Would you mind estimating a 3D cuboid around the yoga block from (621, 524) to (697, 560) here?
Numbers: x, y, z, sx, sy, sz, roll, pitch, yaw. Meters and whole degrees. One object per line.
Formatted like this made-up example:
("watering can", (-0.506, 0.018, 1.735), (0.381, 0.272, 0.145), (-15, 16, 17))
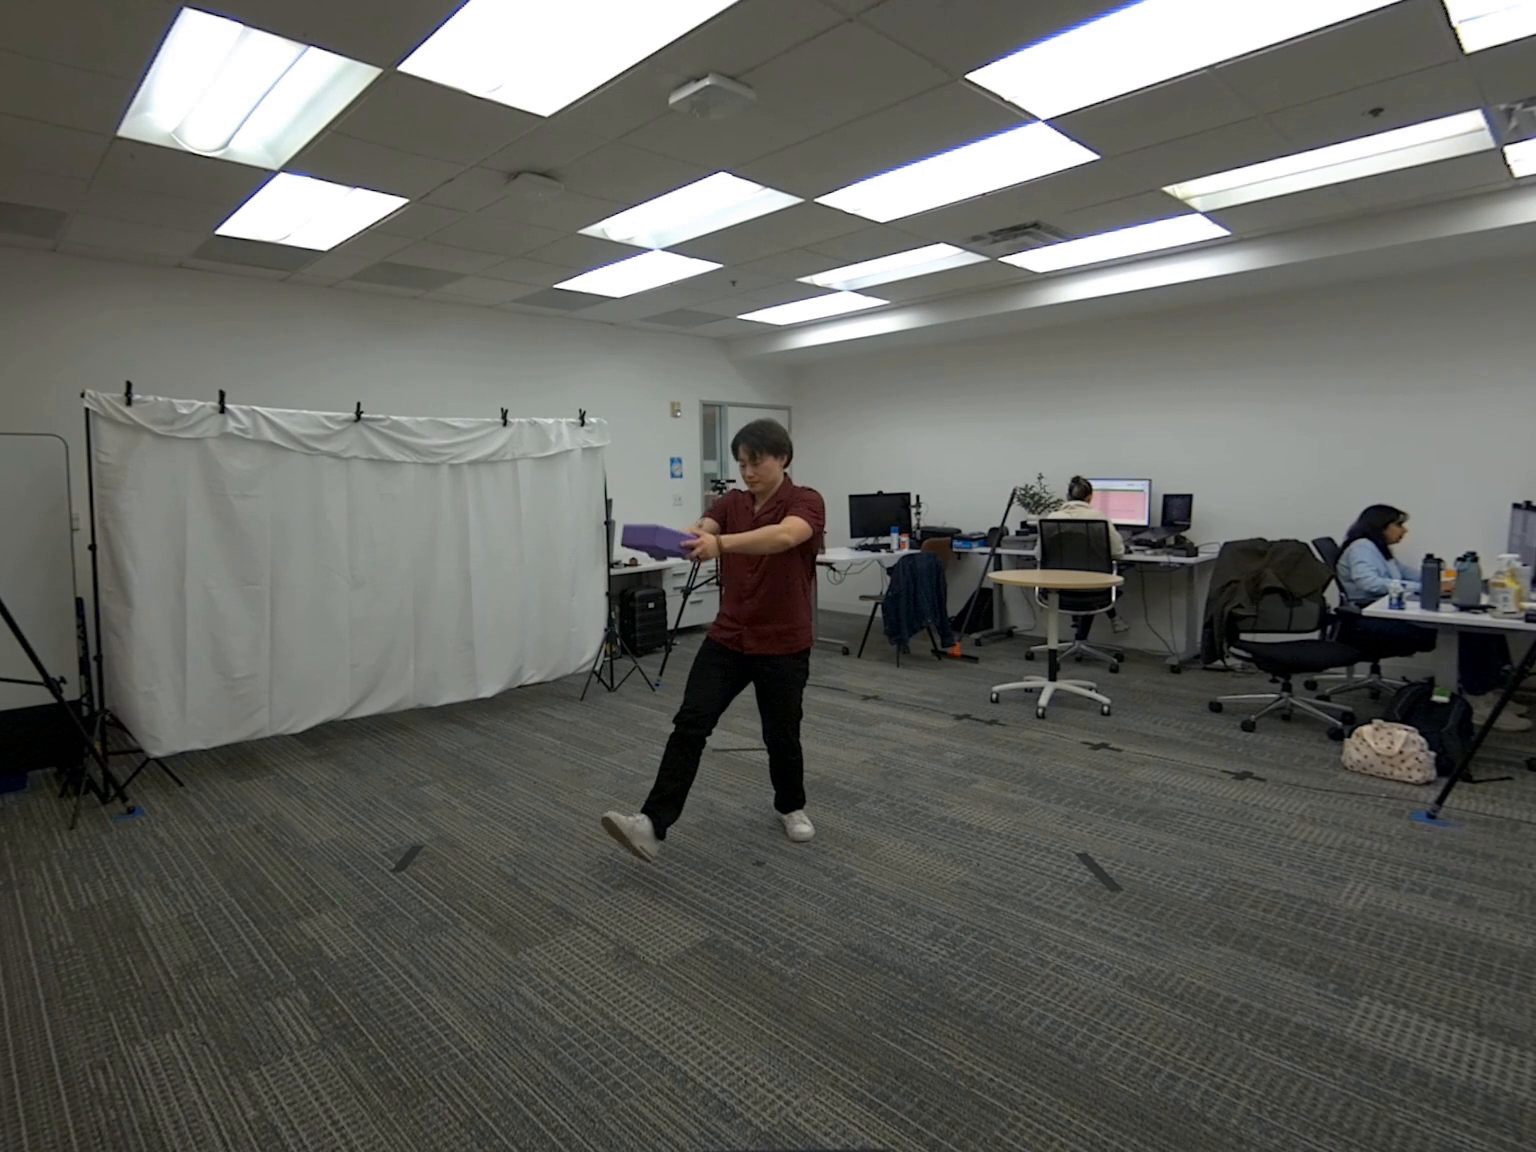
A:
("yoga block", (-0.346, -0.100, 2.761), (0.153, 0.077, 0.222), (3, -6, 30))
